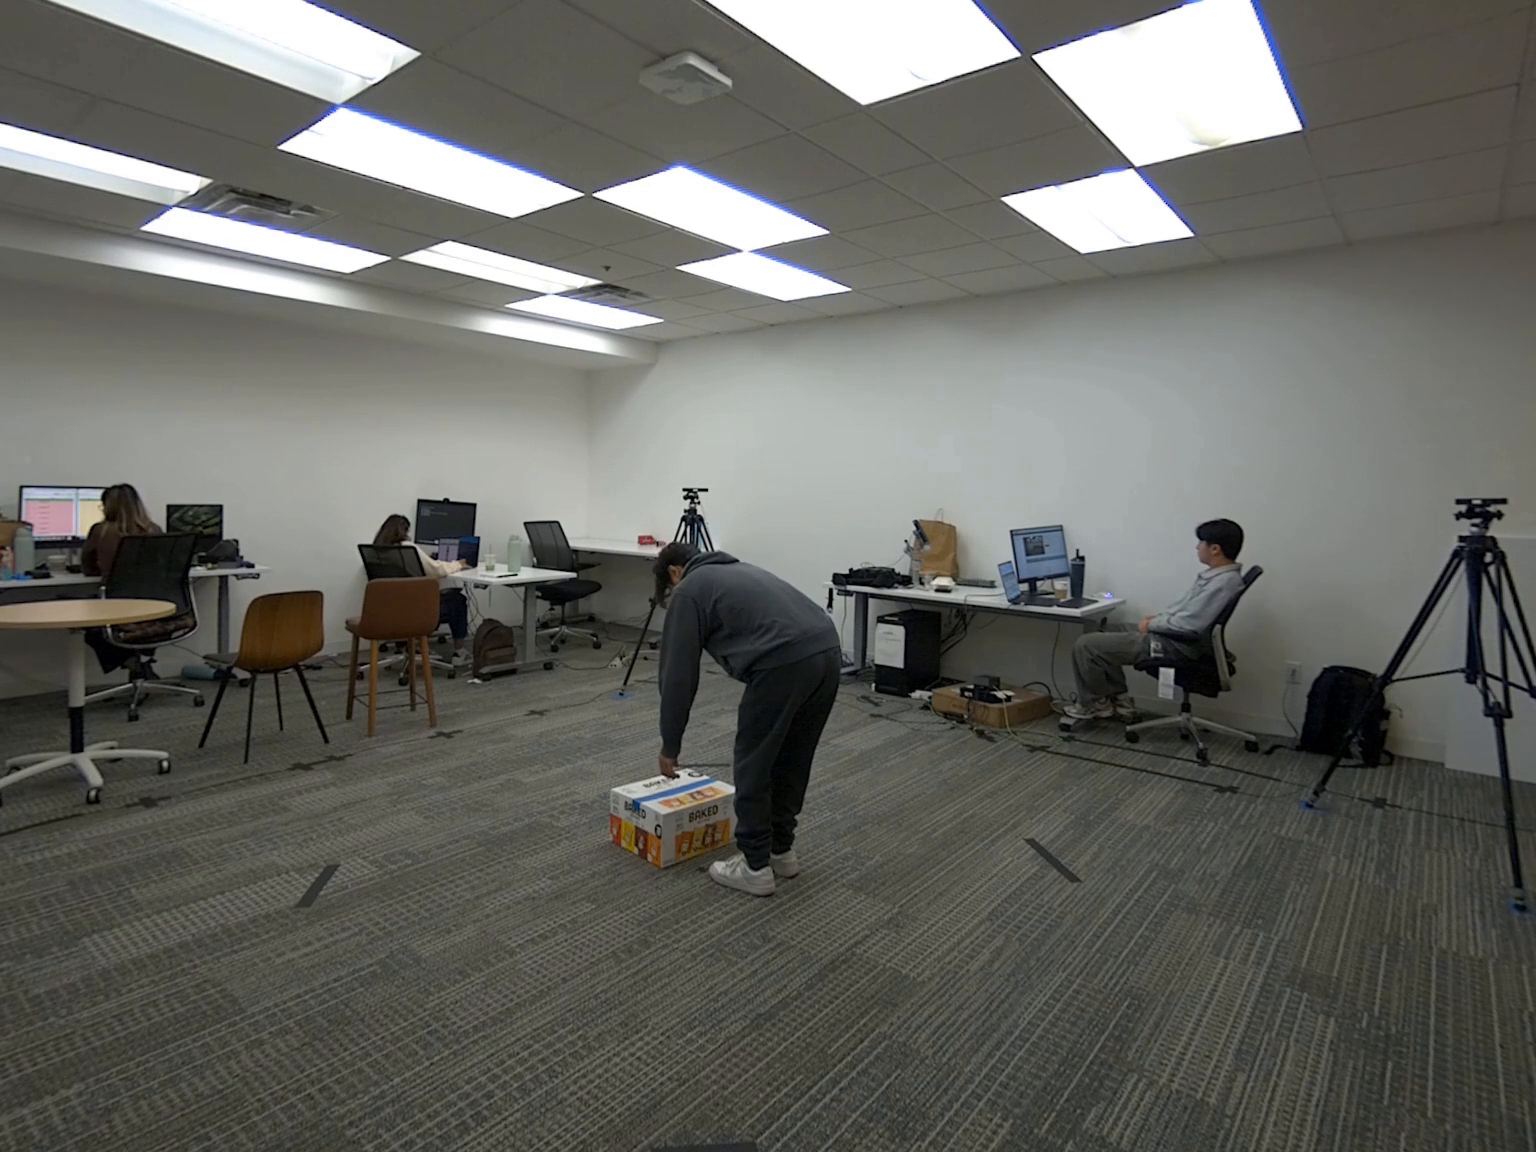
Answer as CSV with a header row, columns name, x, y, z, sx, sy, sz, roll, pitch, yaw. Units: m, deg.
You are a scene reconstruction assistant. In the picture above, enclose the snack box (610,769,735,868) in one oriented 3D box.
name,x,y,z,sx,sy,sz,roll,pitch,yaw
snack box,-0.374,0.942,3.358,0.393,0.205,0.352,-4,7,-43
